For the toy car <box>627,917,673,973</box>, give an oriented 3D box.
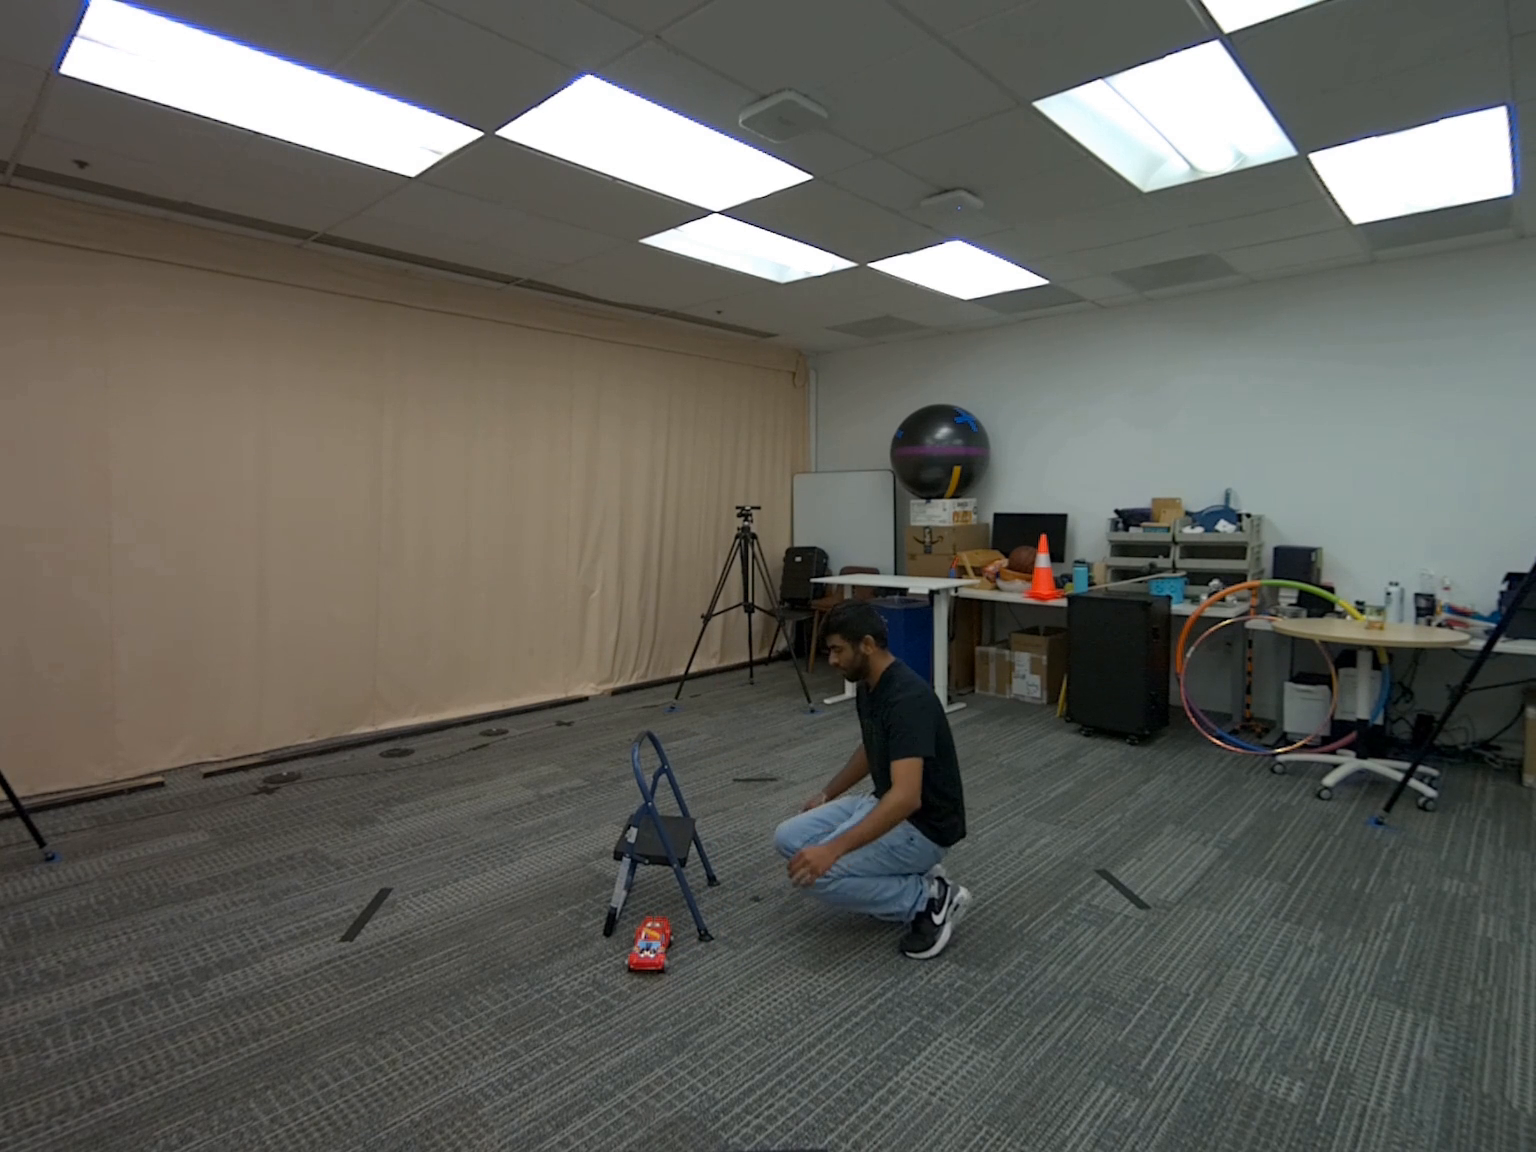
[{"bbox_3d":[-0.363,1.162,2.609,0.131,0.082,0.255,2,19,6],"label":"toy car"}]
